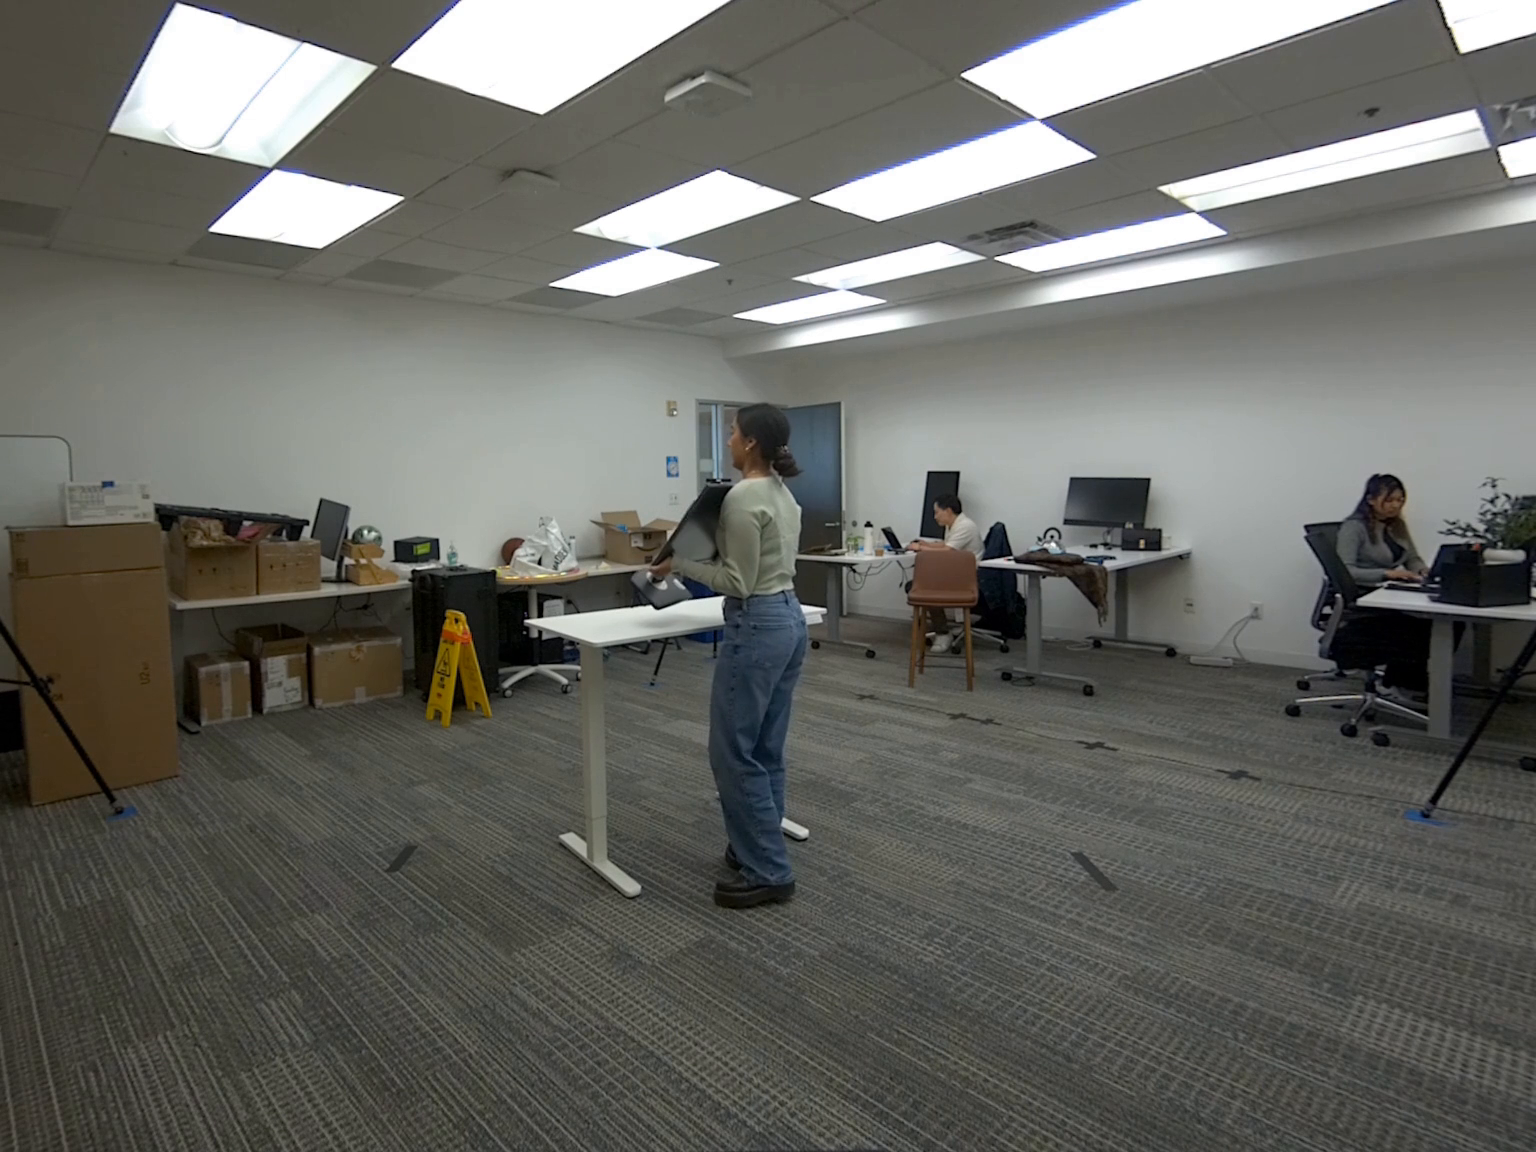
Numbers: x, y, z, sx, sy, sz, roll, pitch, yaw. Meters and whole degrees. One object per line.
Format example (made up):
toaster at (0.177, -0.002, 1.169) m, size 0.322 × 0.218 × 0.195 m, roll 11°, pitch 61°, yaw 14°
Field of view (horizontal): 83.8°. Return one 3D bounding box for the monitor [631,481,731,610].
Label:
monitor at (-0.240, -0.135, 3.006) m, size 0.522 × 0.190 × 0.530 m, roll -47°, pitch -12°, yaw 22°
